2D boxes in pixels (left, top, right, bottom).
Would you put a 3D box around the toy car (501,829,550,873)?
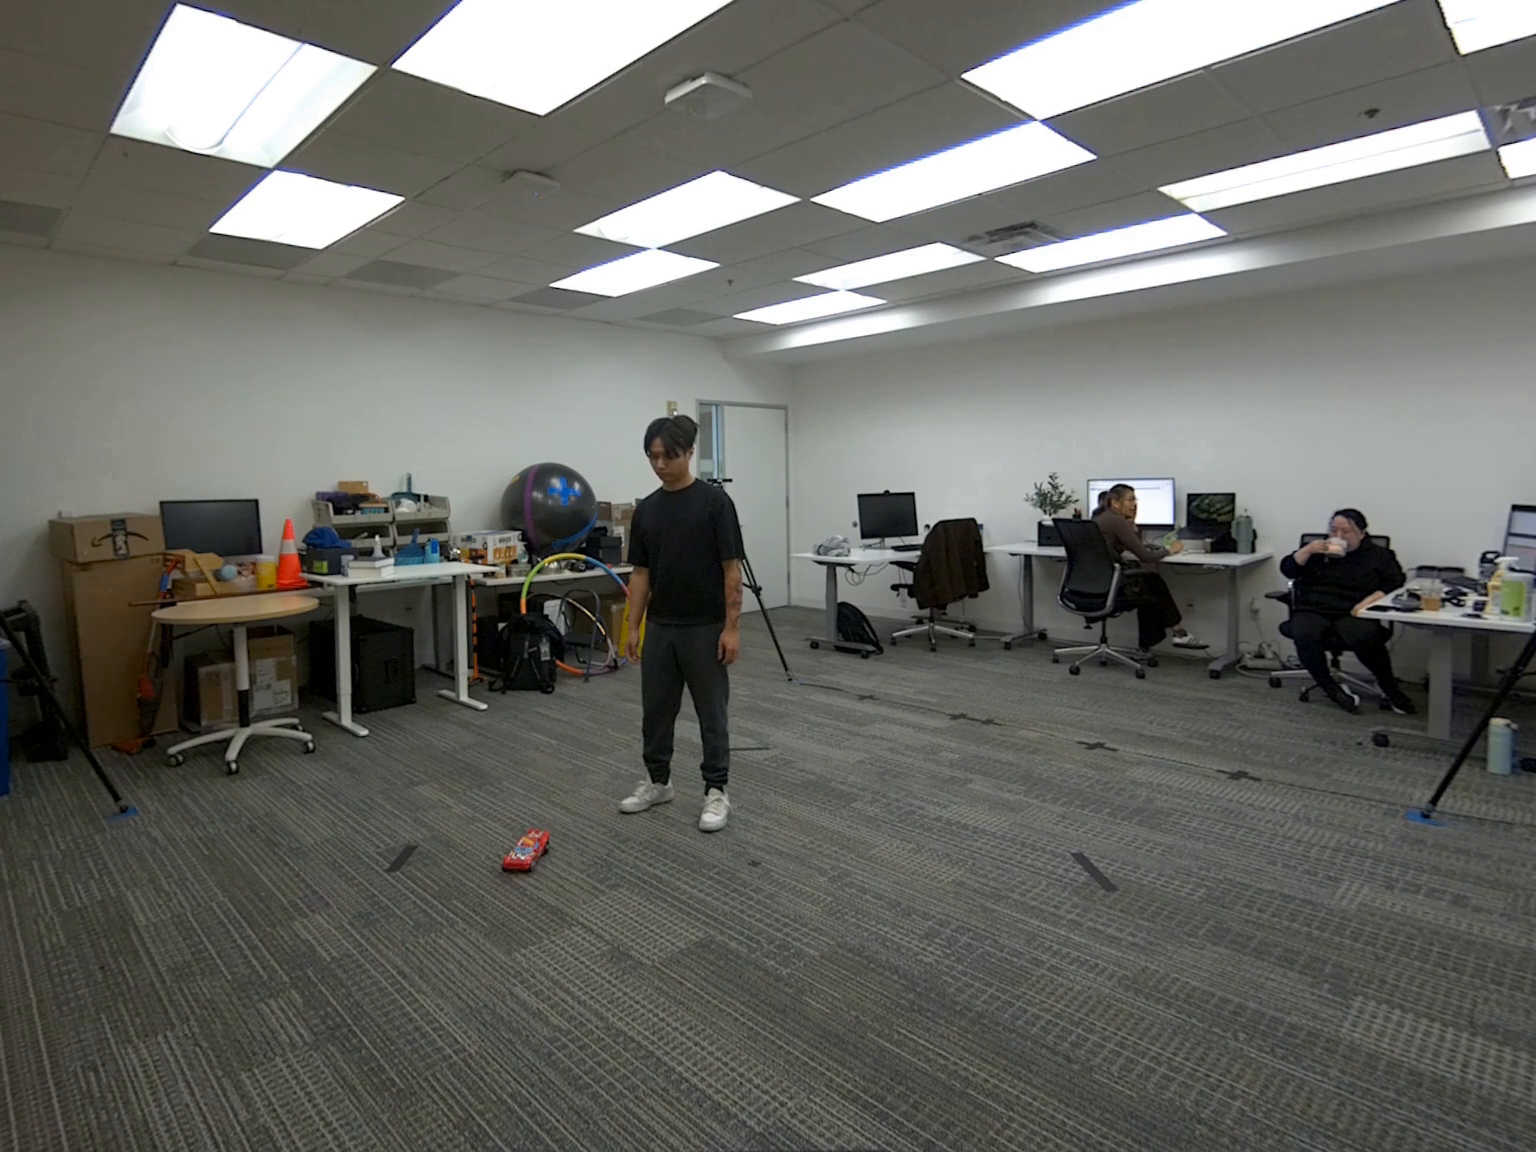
[{"bbox_3d":[-0.892,1.023,3.177,0.131,0.082,0.256,0,17,6],"label":"toy car"}]
